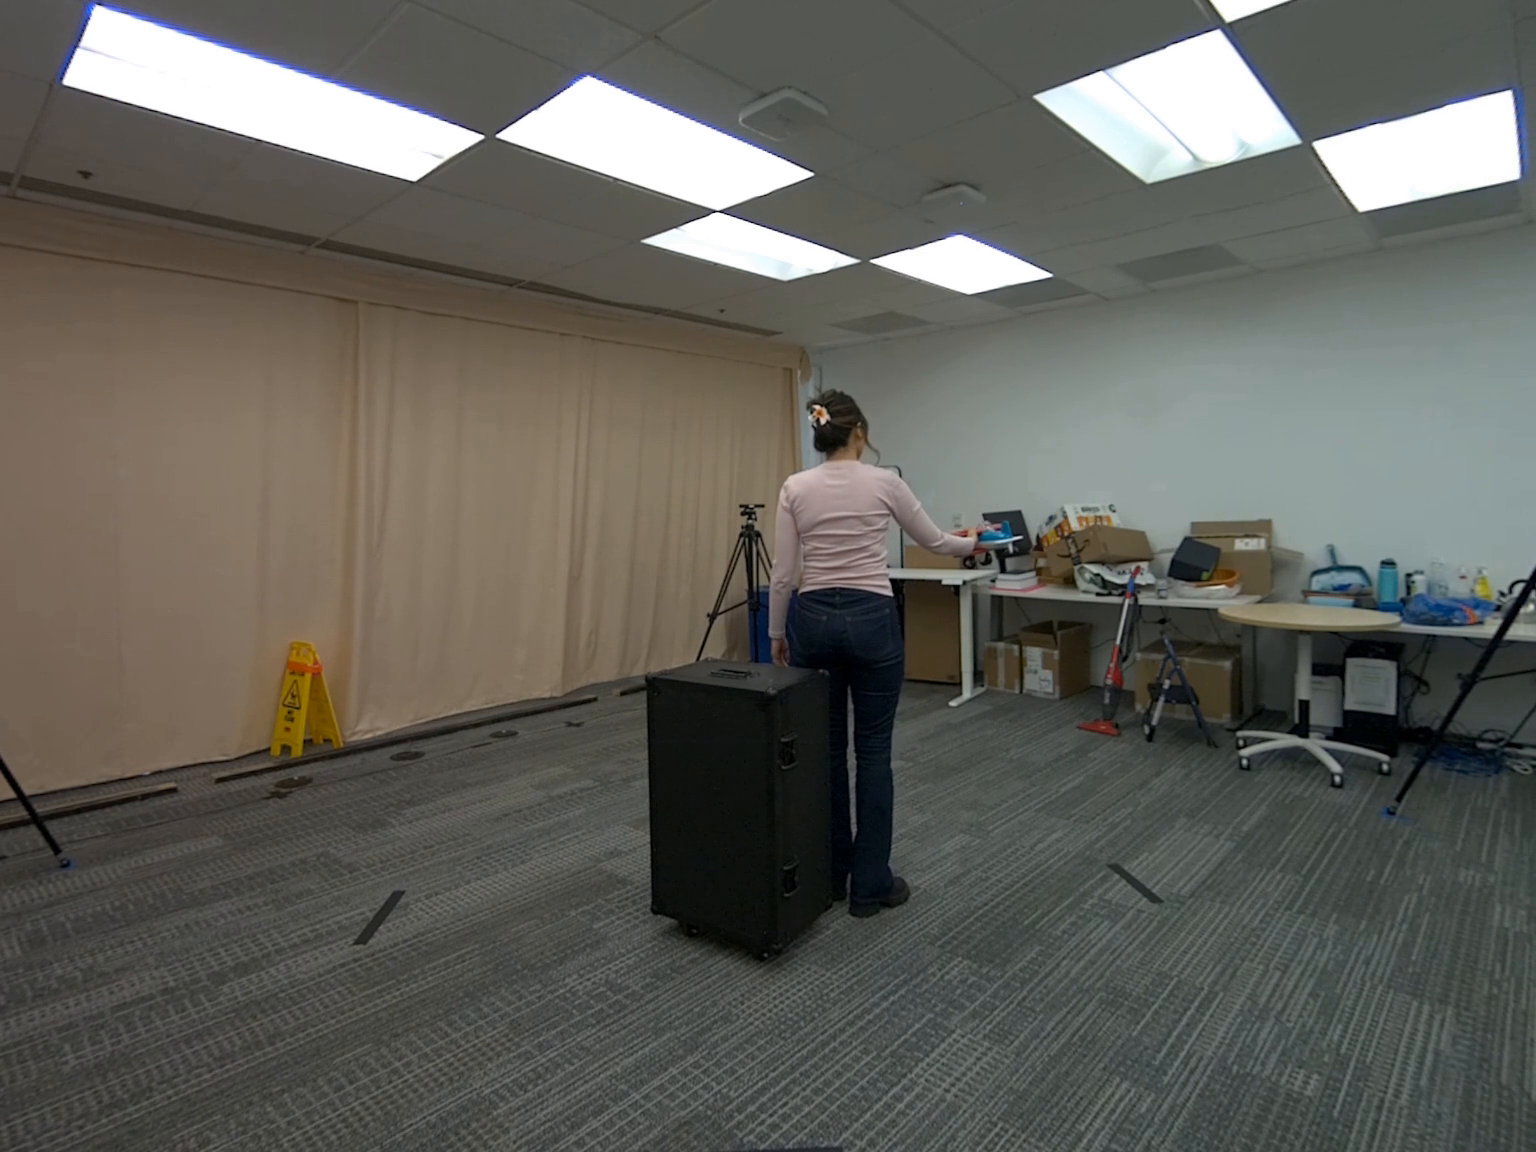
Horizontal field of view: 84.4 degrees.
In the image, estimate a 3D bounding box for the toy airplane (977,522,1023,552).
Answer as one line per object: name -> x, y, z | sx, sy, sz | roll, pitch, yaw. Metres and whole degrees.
toy airplane -> 0.871, -0.130, 3.274 | 0.265, 0.157, 0.244 | -21, -9, 34
